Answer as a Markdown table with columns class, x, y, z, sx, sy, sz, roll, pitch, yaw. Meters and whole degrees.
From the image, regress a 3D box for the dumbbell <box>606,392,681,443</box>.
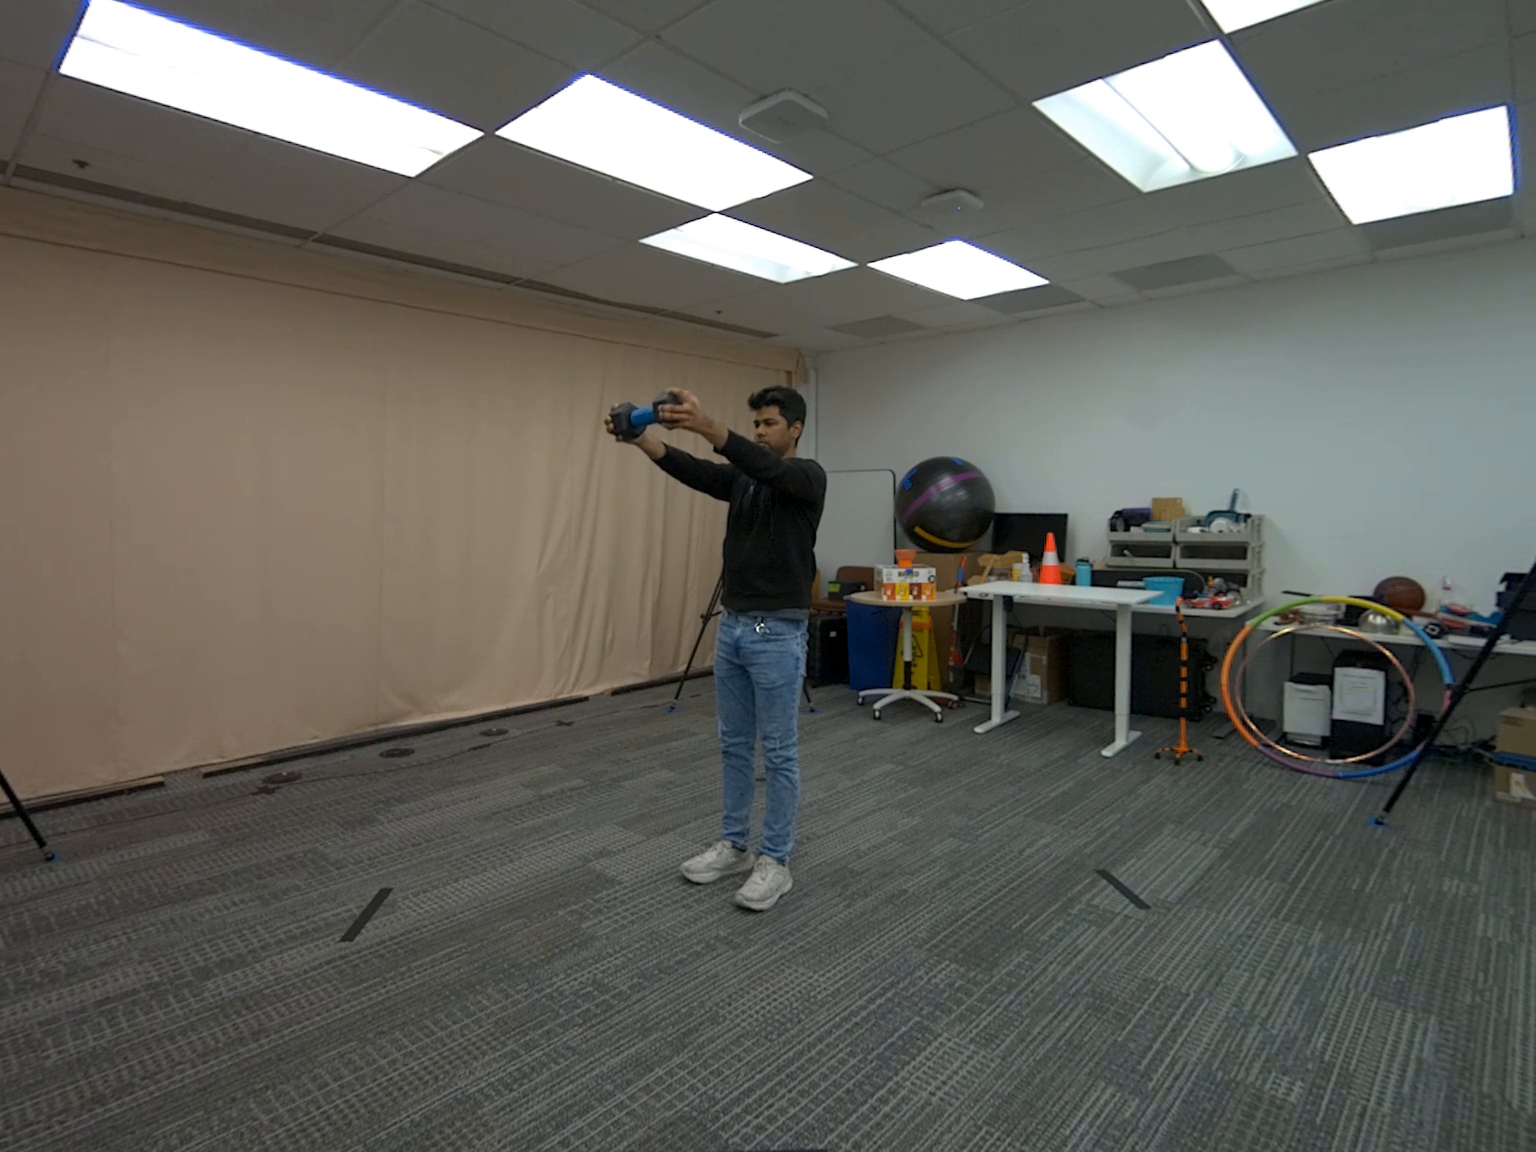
| class | x | y | z | sx | sy | sz | roll | pitch | yaw |
| --- | --- | --- | --- | --- | --- | --- | --- | --- | --- |
| dumbbell | -0.374 | -0.515 | 2.684 | 0.302 | 0.122 | 0.106 | -4 | 6 | 40 |
